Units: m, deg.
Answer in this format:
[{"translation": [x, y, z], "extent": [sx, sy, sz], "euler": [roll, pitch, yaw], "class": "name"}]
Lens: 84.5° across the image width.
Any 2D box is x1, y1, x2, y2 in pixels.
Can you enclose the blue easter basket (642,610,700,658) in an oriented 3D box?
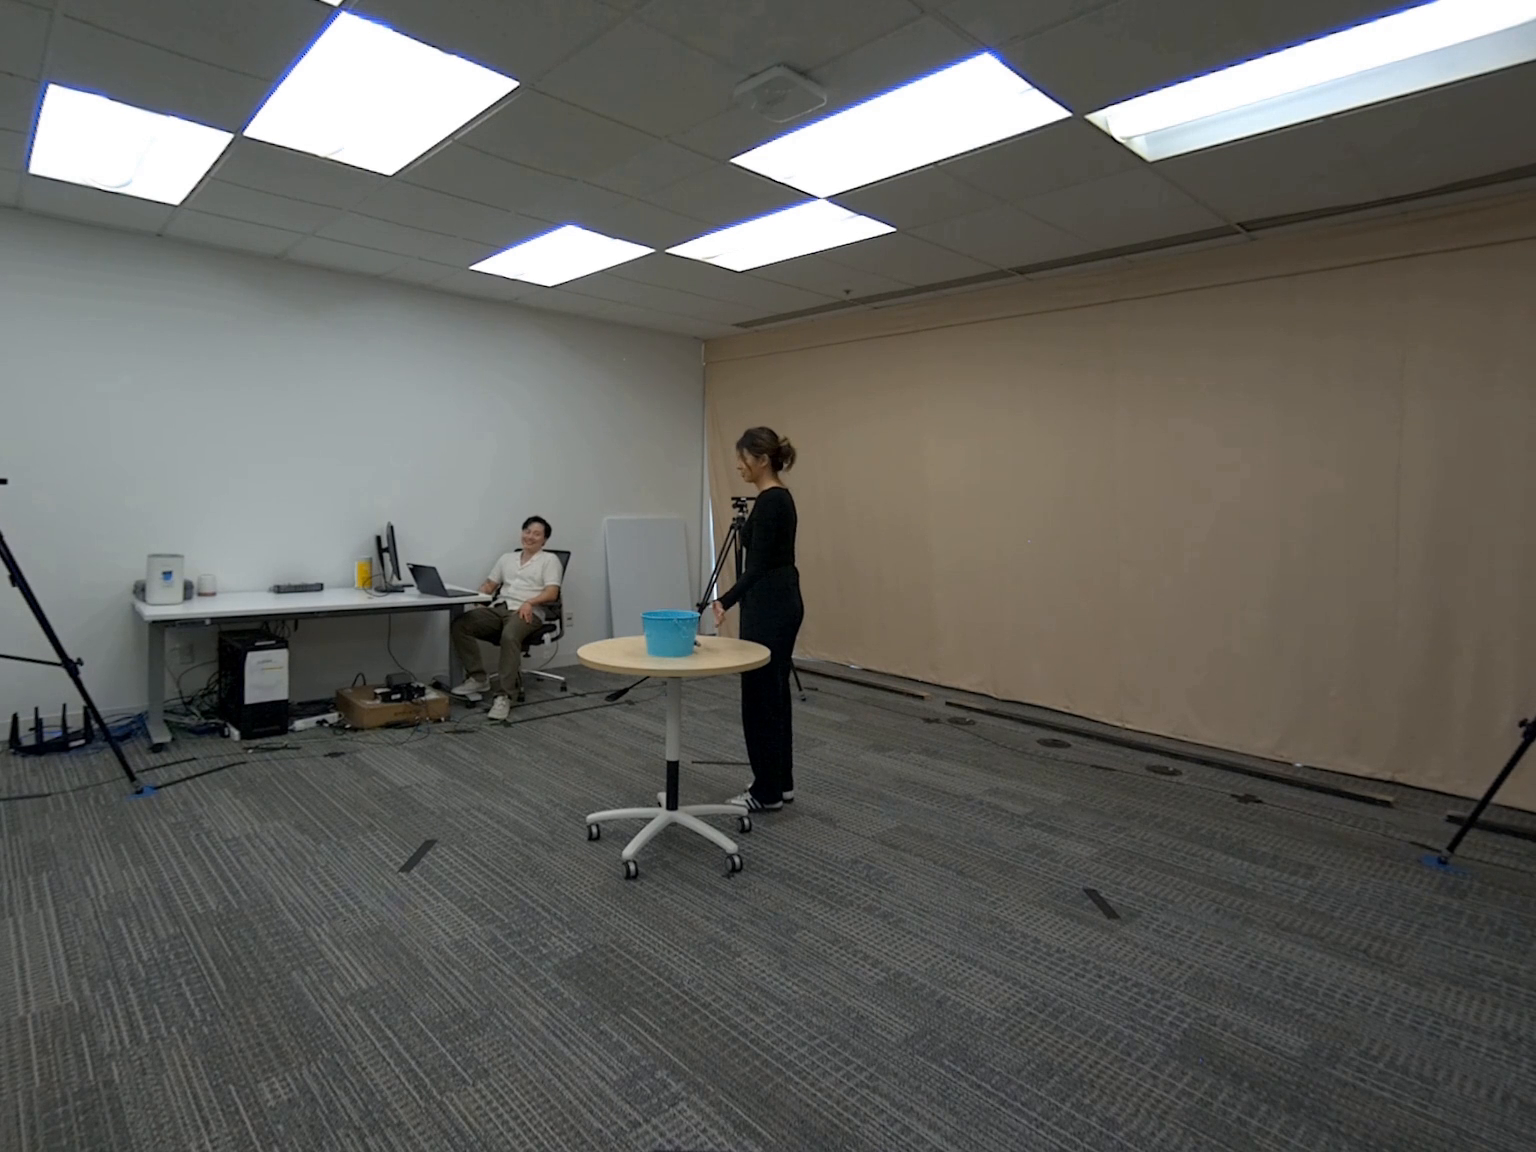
[{"translation": [-0.385, 0.231, 3.287], "extent": [0.243, 0.155, 0.244], "euler": [0, 4, -1], "class": "blue easter basket"}]
